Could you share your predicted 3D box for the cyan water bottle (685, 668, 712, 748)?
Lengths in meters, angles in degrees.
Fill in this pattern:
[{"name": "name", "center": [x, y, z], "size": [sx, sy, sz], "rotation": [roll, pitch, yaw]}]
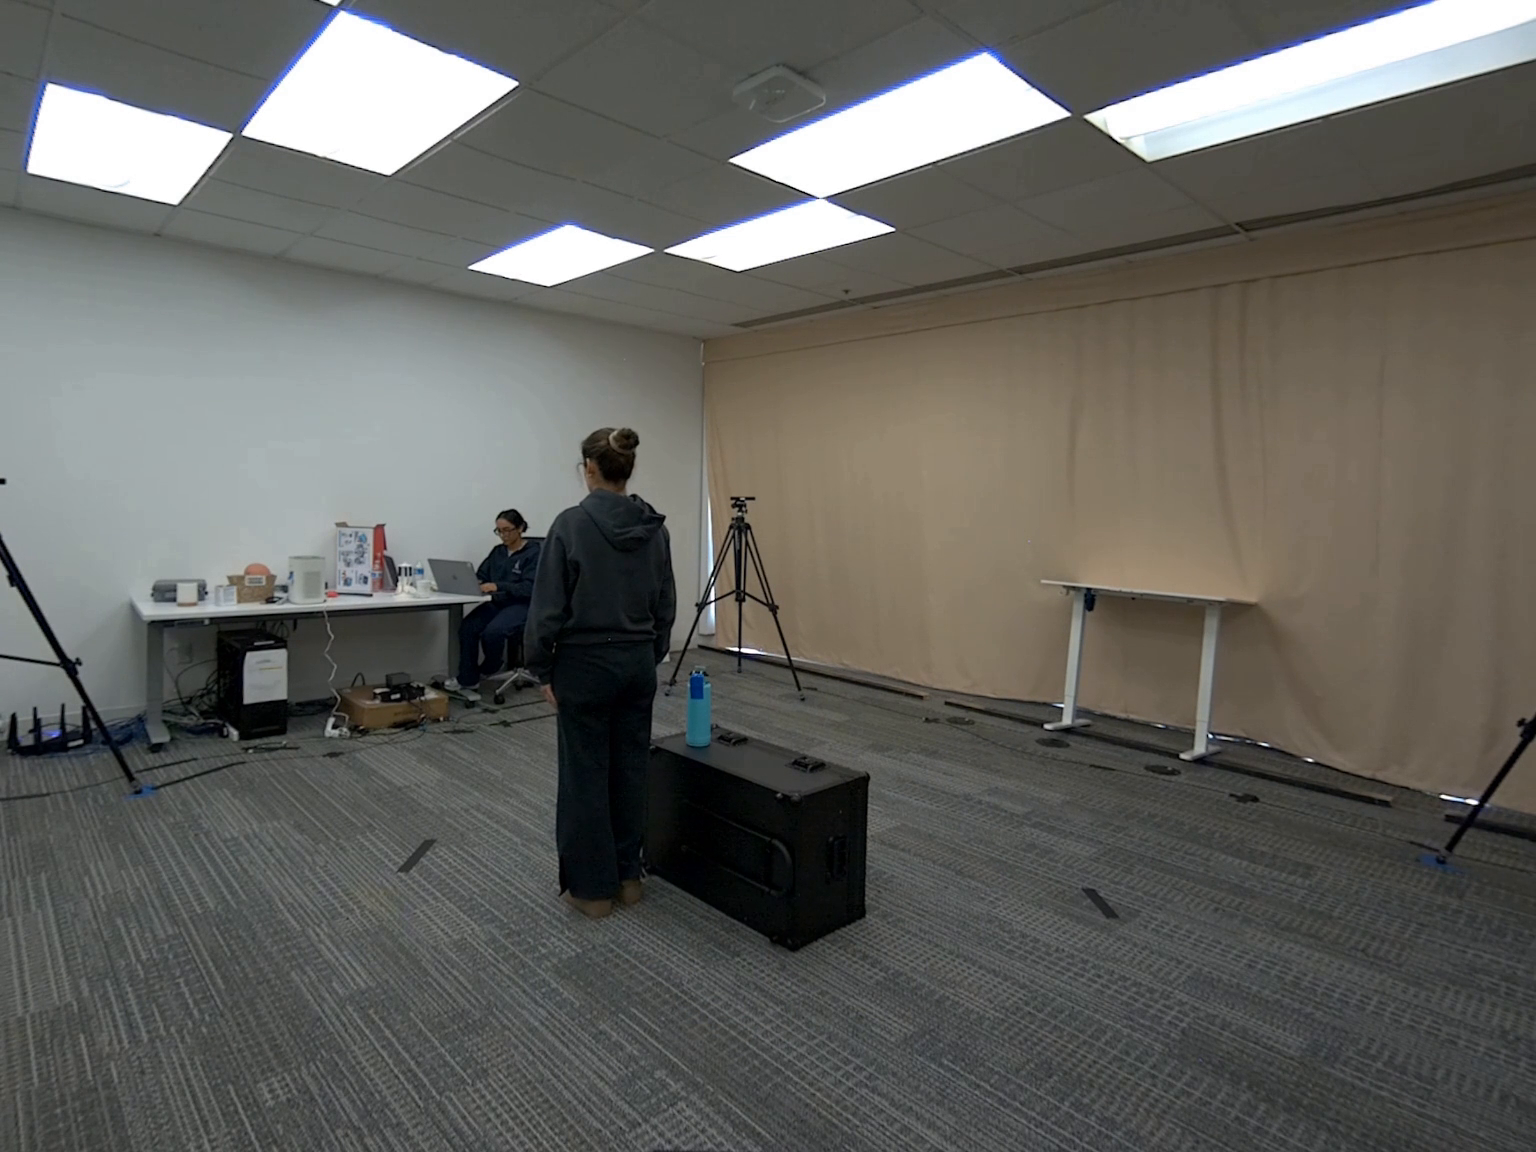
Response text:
[{"name": "cyan water bottle", "center": [-0.262, 0.479, 3.121], "size": [0.092, 0.283, 0.092], "rotation": [3, 3, -2]}]
